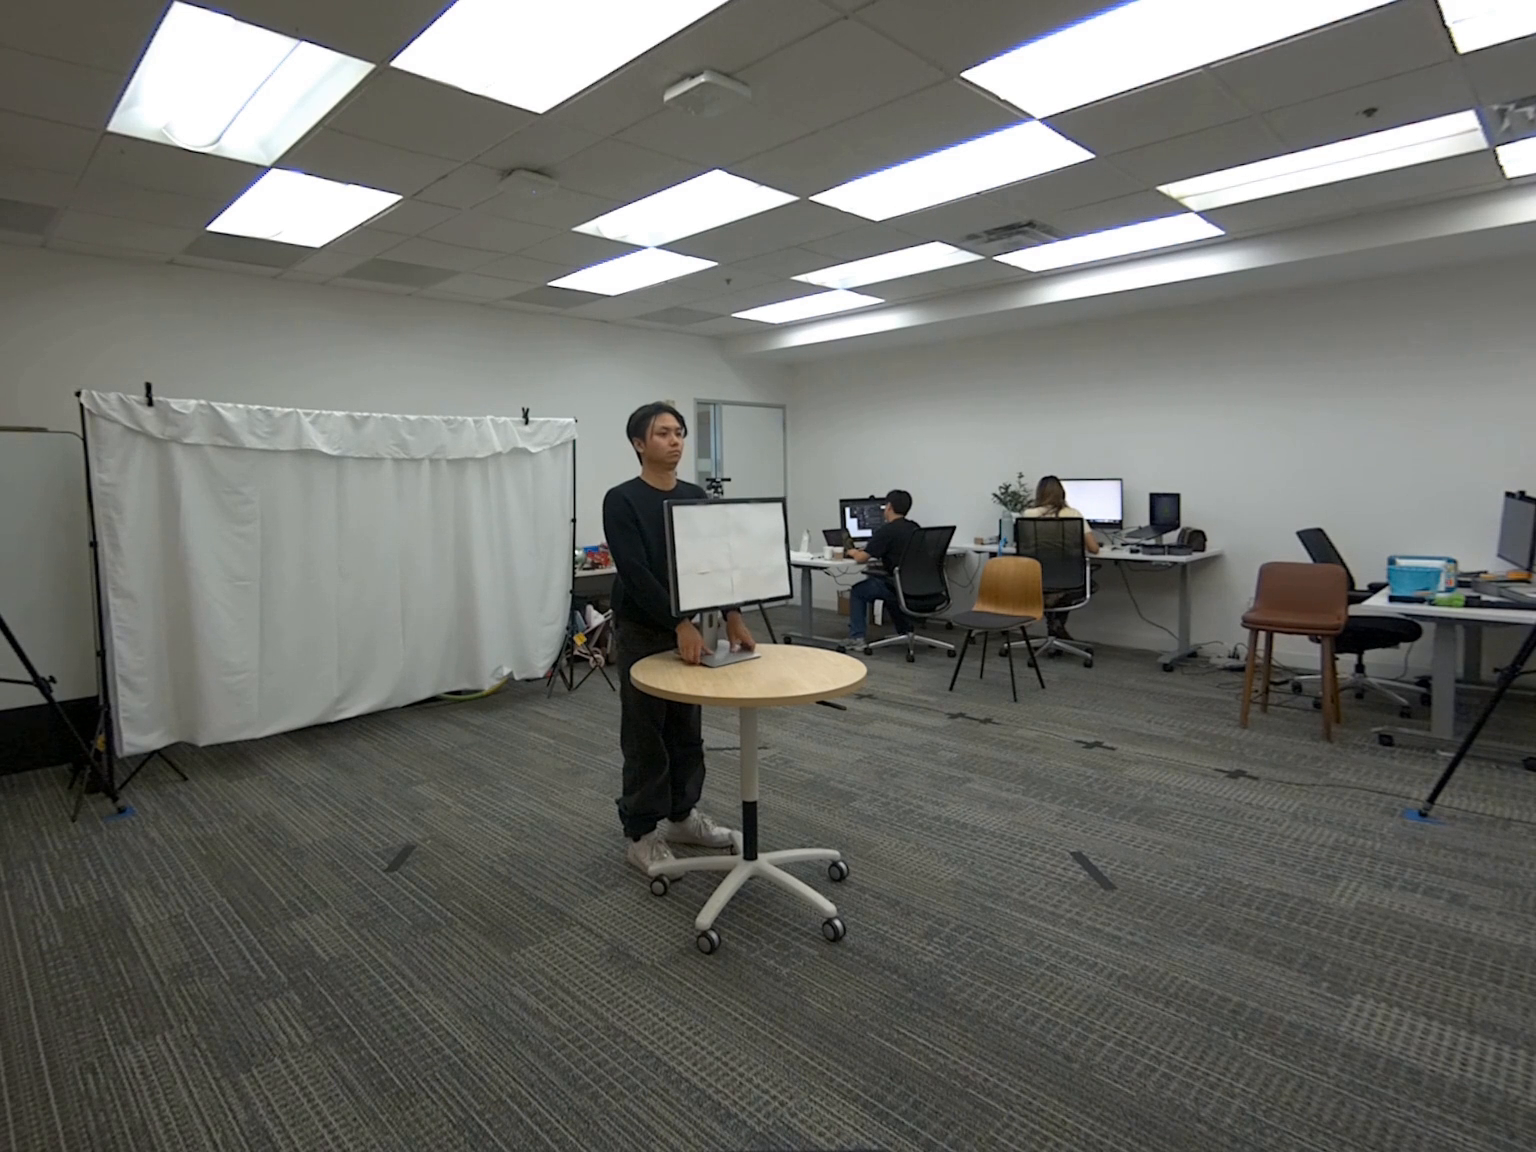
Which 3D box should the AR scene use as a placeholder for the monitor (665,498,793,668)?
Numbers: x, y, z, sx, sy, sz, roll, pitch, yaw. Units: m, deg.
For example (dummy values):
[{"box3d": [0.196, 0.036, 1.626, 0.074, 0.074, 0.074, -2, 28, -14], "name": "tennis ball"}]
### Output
[{"box3d": [-0.154, 0.009, 2.886, 0.193, 0.519, 0.525, 12, 12, 40], "name": "monitor"}]
